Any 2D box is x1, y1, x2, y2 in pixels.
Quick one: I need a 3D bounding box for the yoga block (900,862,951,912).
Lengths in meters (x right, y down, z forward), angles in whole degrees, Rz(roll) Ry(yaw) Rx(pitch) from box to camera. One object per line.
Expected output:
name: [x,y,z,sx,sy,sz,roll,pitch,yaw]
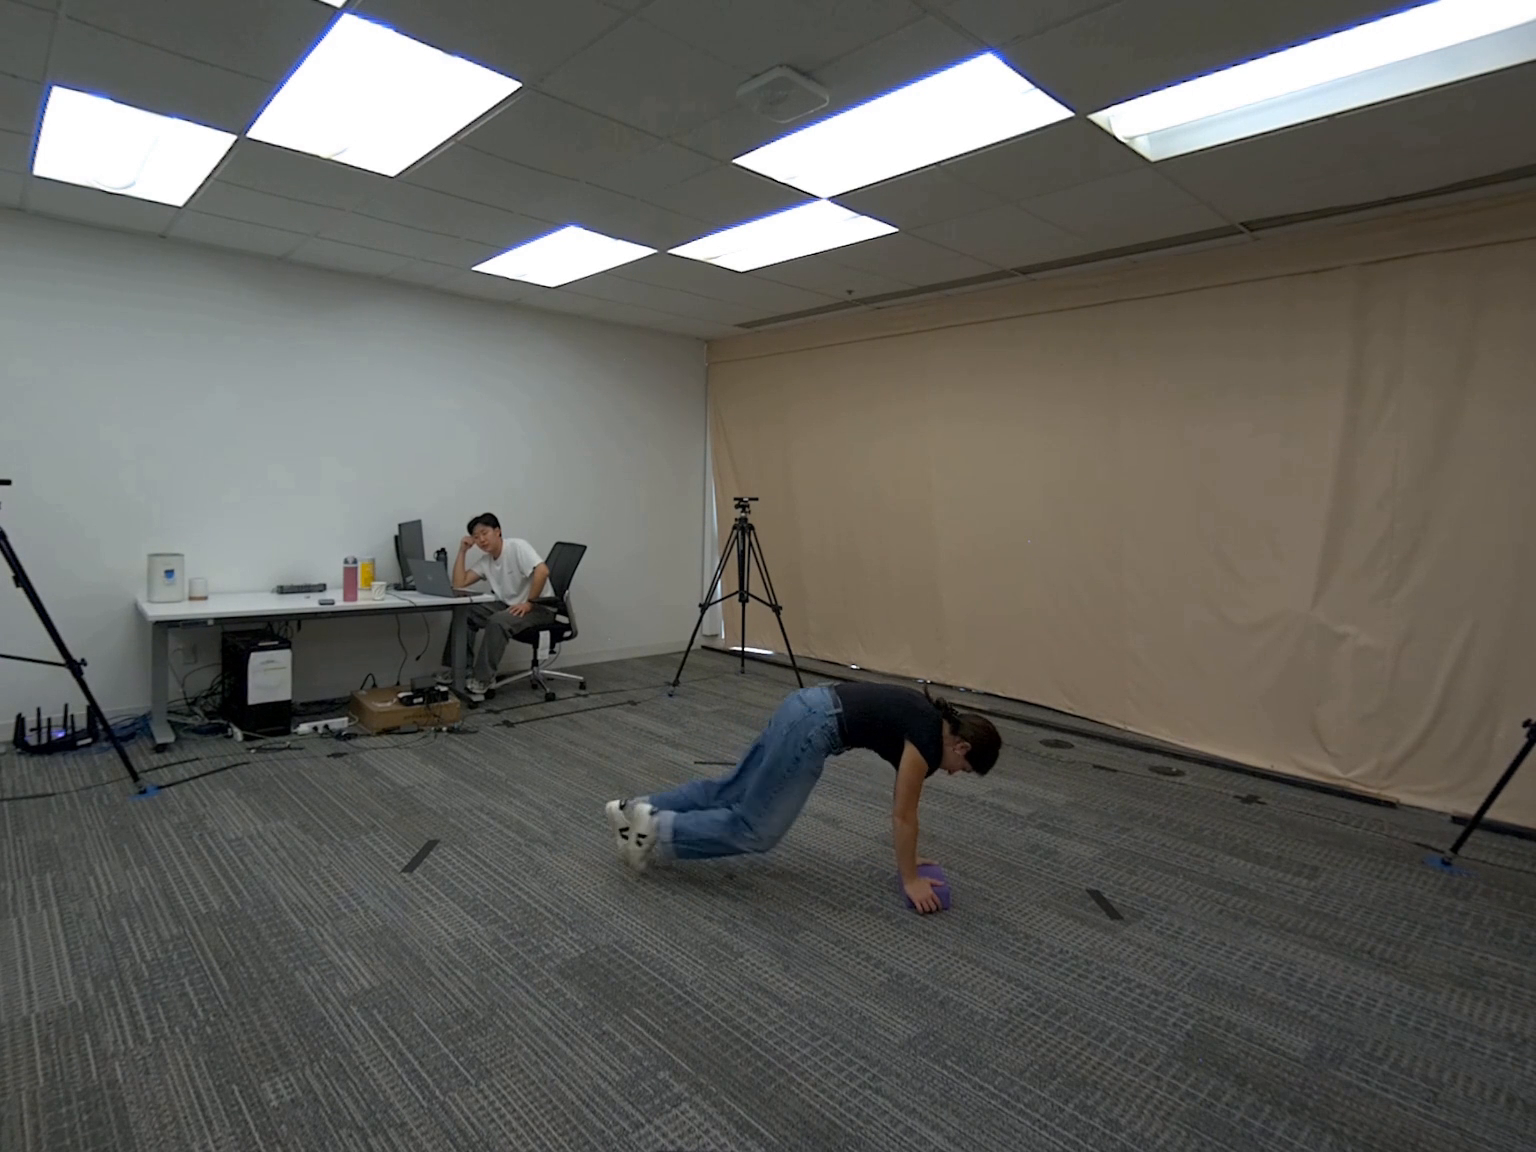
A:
yoga block: [0.549,1.101,2.989,0.149,0.076,0.229,1,4,3]
